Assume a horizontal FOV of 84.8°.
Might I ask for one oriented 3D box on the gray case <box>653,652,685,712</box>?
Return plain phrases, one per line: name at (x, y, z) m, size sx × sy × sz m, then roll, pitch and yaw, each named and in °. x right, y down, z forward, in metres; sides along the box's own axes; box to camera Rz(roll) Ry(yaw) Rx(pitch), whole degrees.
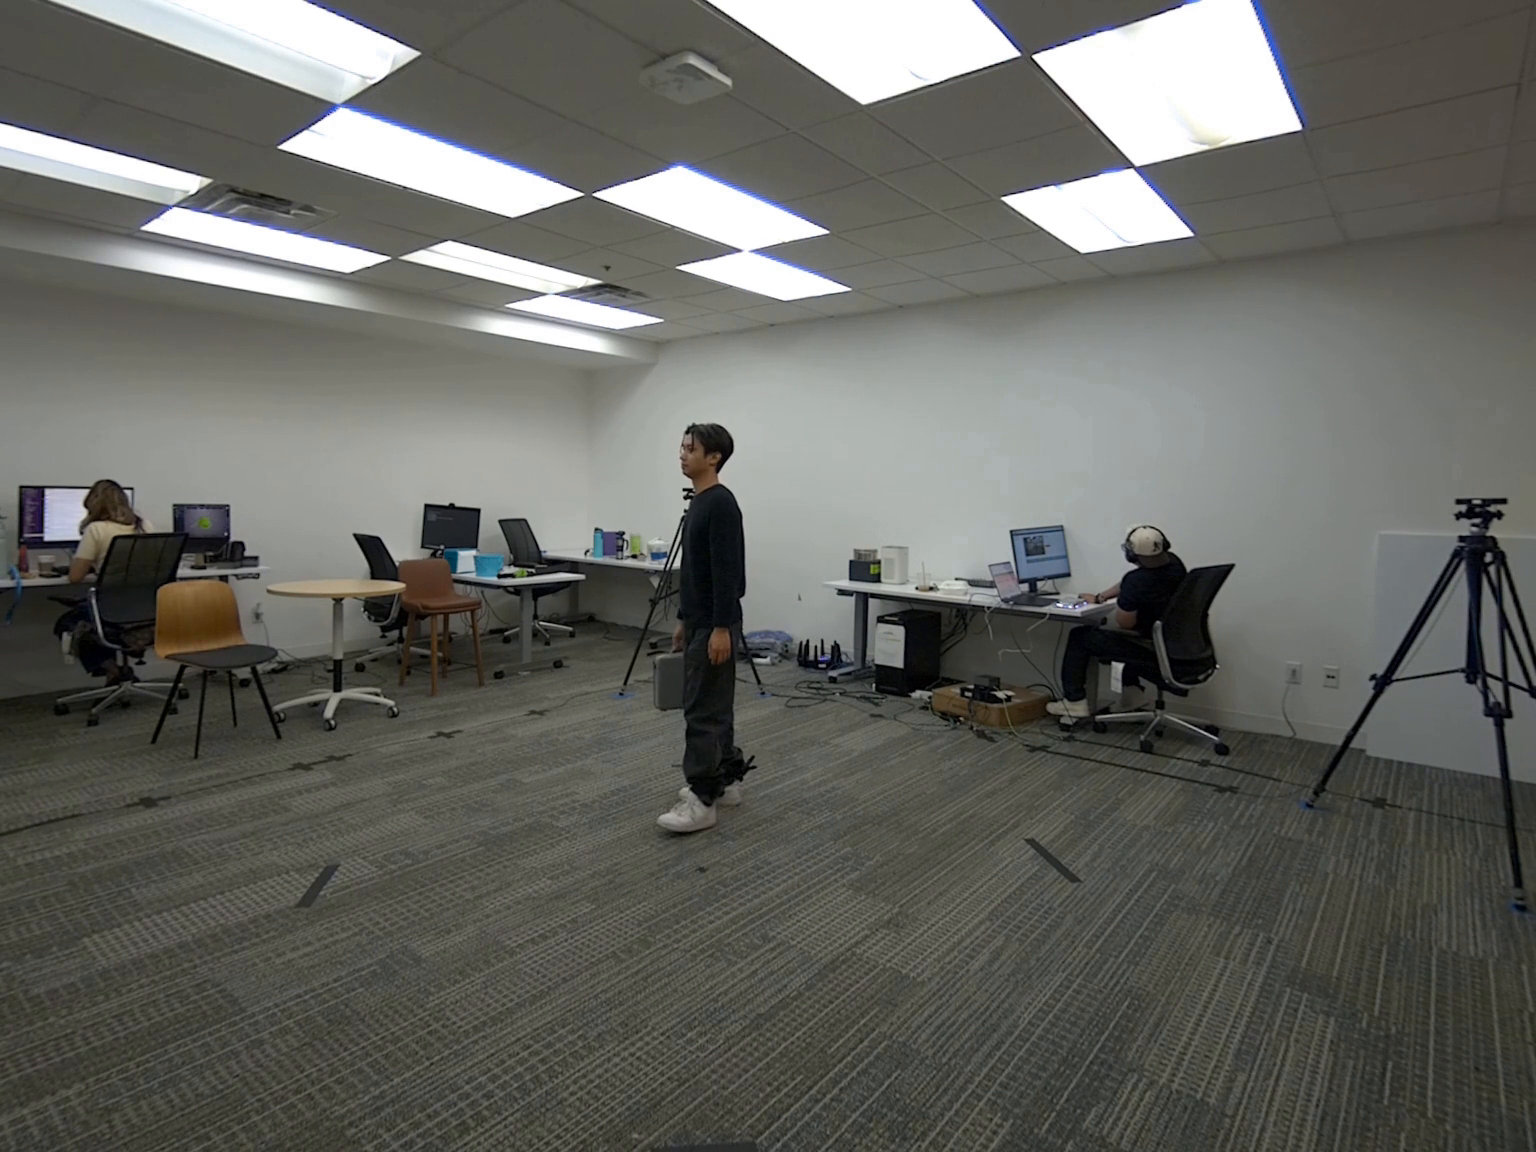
gray case at (-0.407, 0.478, 3.944) m, size 0.253 × 0.260 × 0.106 m, roll -2°, pitch 1°, yaw -13°
